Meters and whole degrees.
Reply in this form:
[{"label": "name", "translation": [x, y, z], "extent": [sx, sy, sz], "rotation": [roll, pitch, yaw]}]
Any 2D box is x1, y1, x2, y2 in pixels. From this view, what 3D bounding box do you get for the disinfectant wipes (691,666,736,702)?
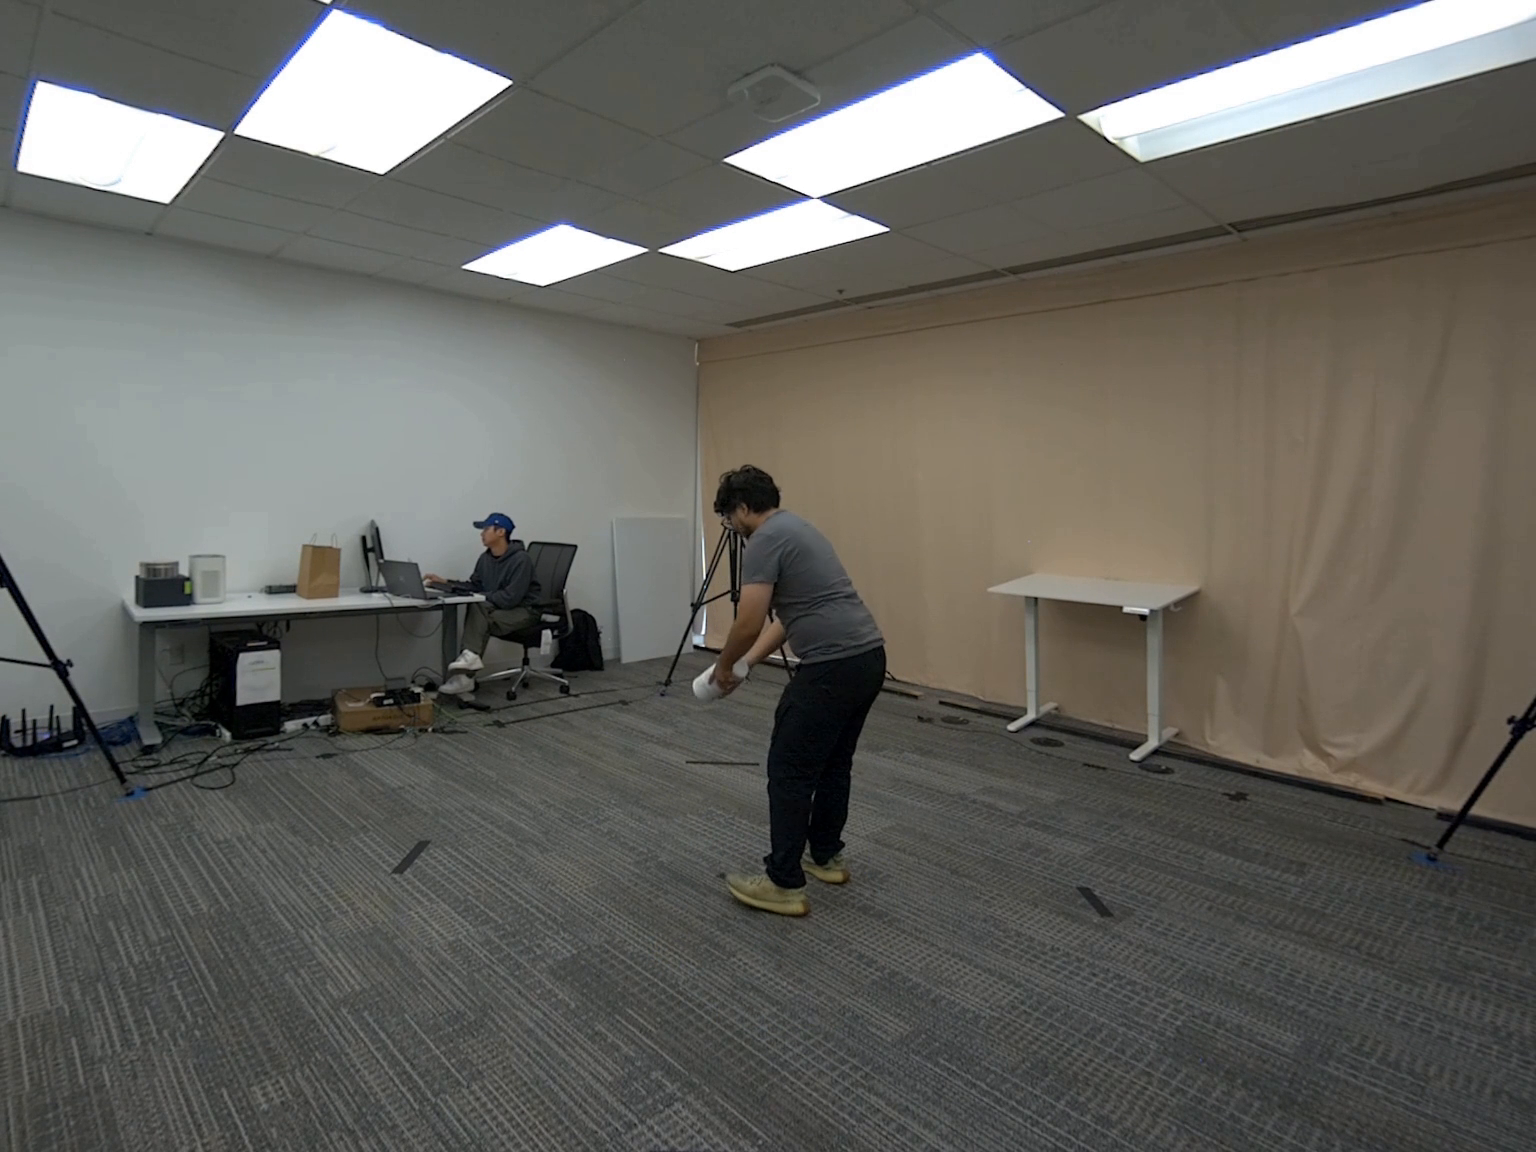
[{"label": "disinfectant wipes", "translation": [-0.181, 0.380, 3.172], "extent": [0.115, 0.120, 0.218], "rotation": [-3, -32, -49]}]
